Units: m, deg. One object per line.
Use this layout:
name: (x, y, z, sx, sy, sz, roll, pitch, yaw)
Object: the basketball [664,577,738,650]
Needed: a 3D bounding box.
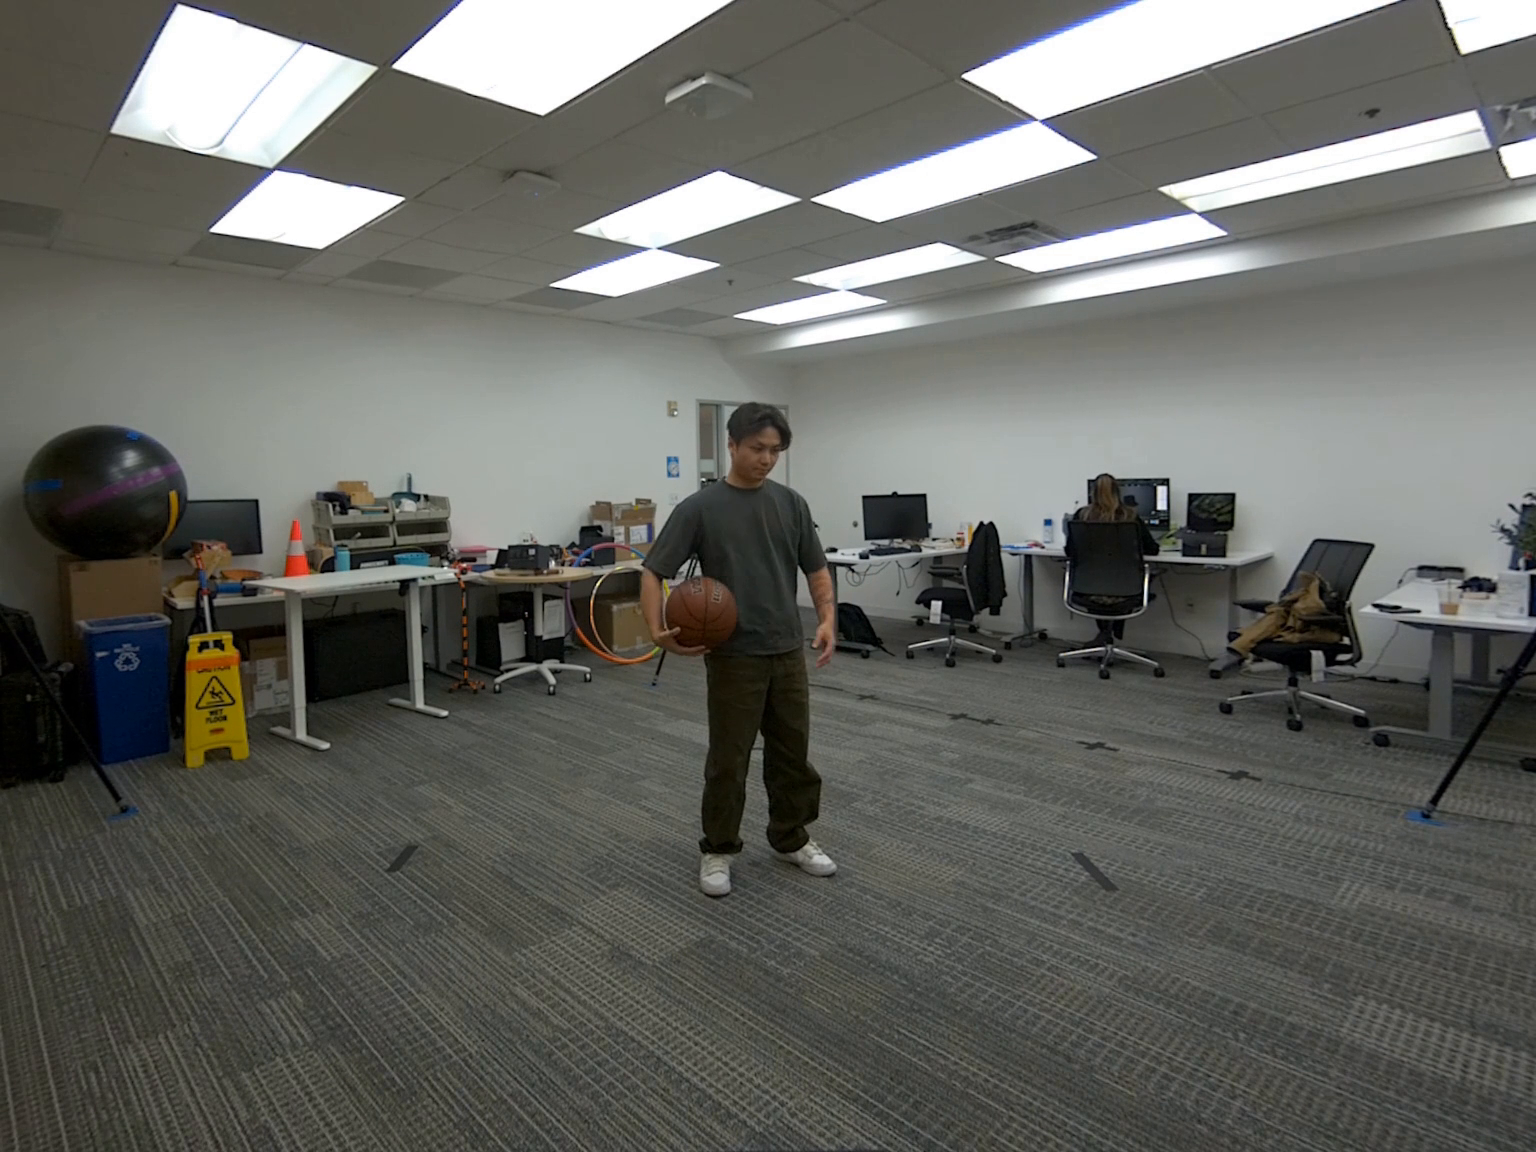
basketball: (-0.210, 0.118, 2.787, 0.236, 0.235, 0.237, -1, 5, -2)
